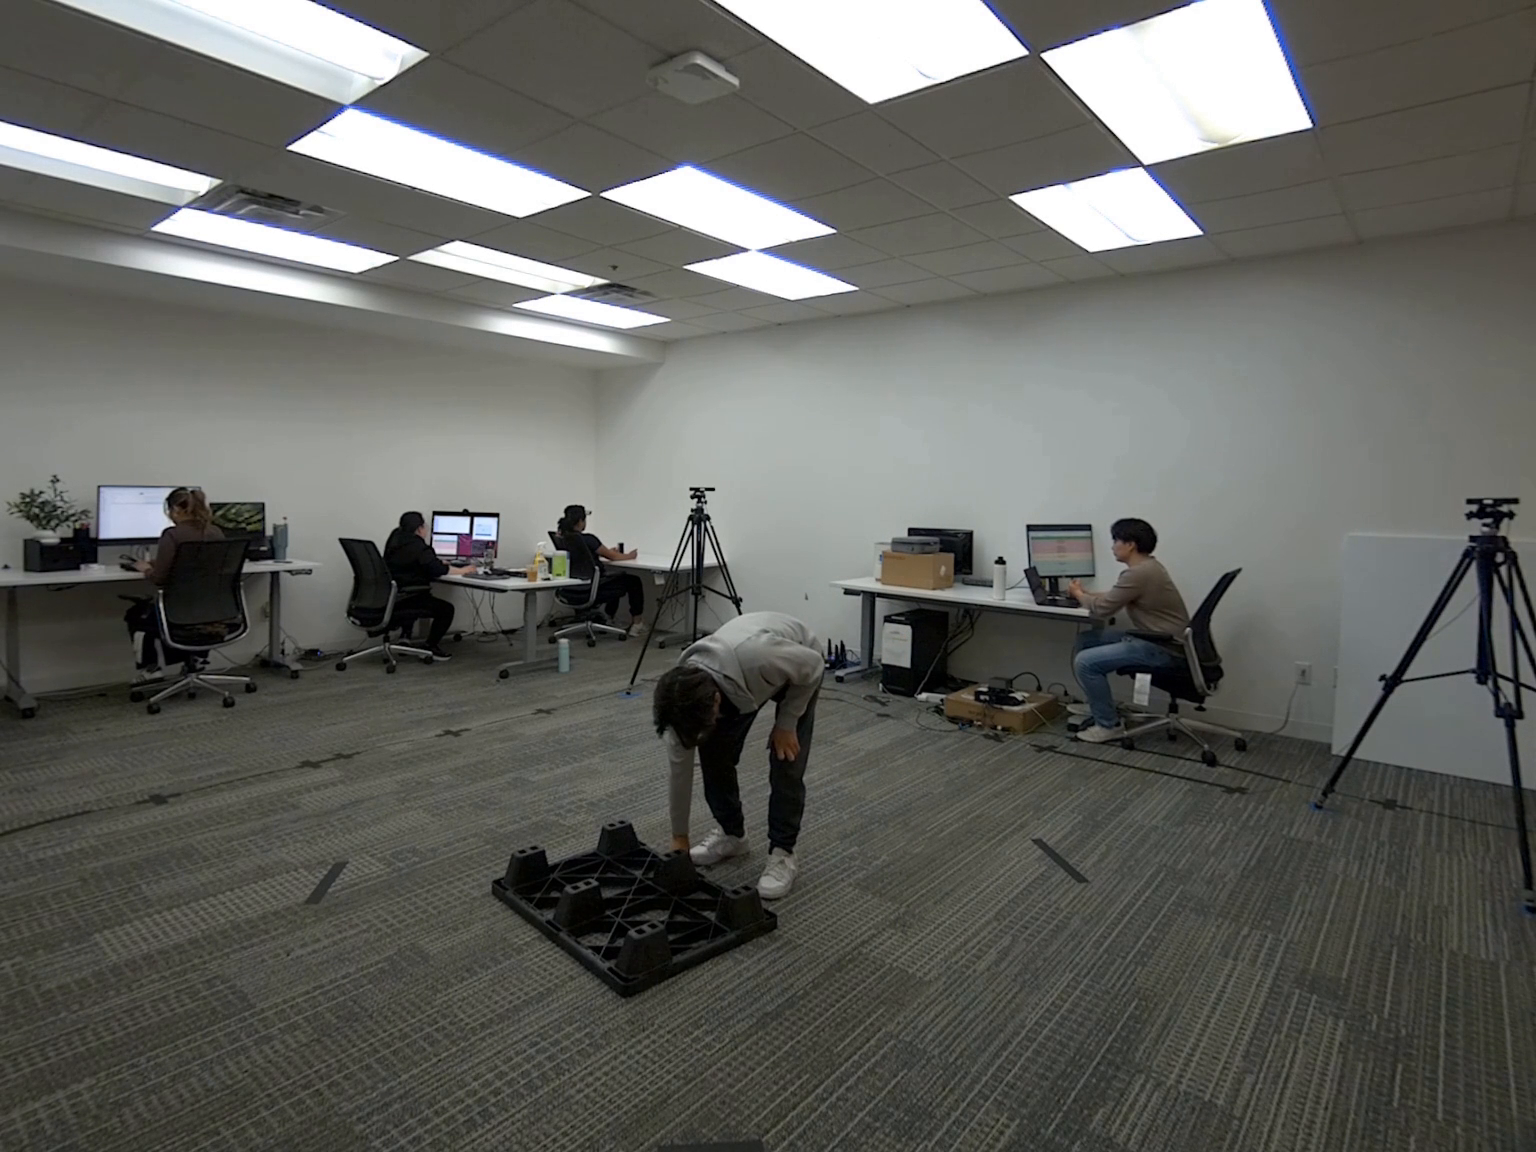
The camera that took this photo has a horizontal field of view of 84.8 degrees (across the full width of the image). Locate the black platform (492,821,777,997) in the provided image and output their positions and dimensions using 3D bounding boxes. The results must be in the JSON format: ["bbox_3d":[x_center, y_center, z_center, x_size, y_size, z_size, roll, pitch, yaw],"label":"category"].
[{"bbox_3d":[-0.470,1.030,2.791,0.587,0.143,0.833,-4,7,-44],"label":"black platform"}]
